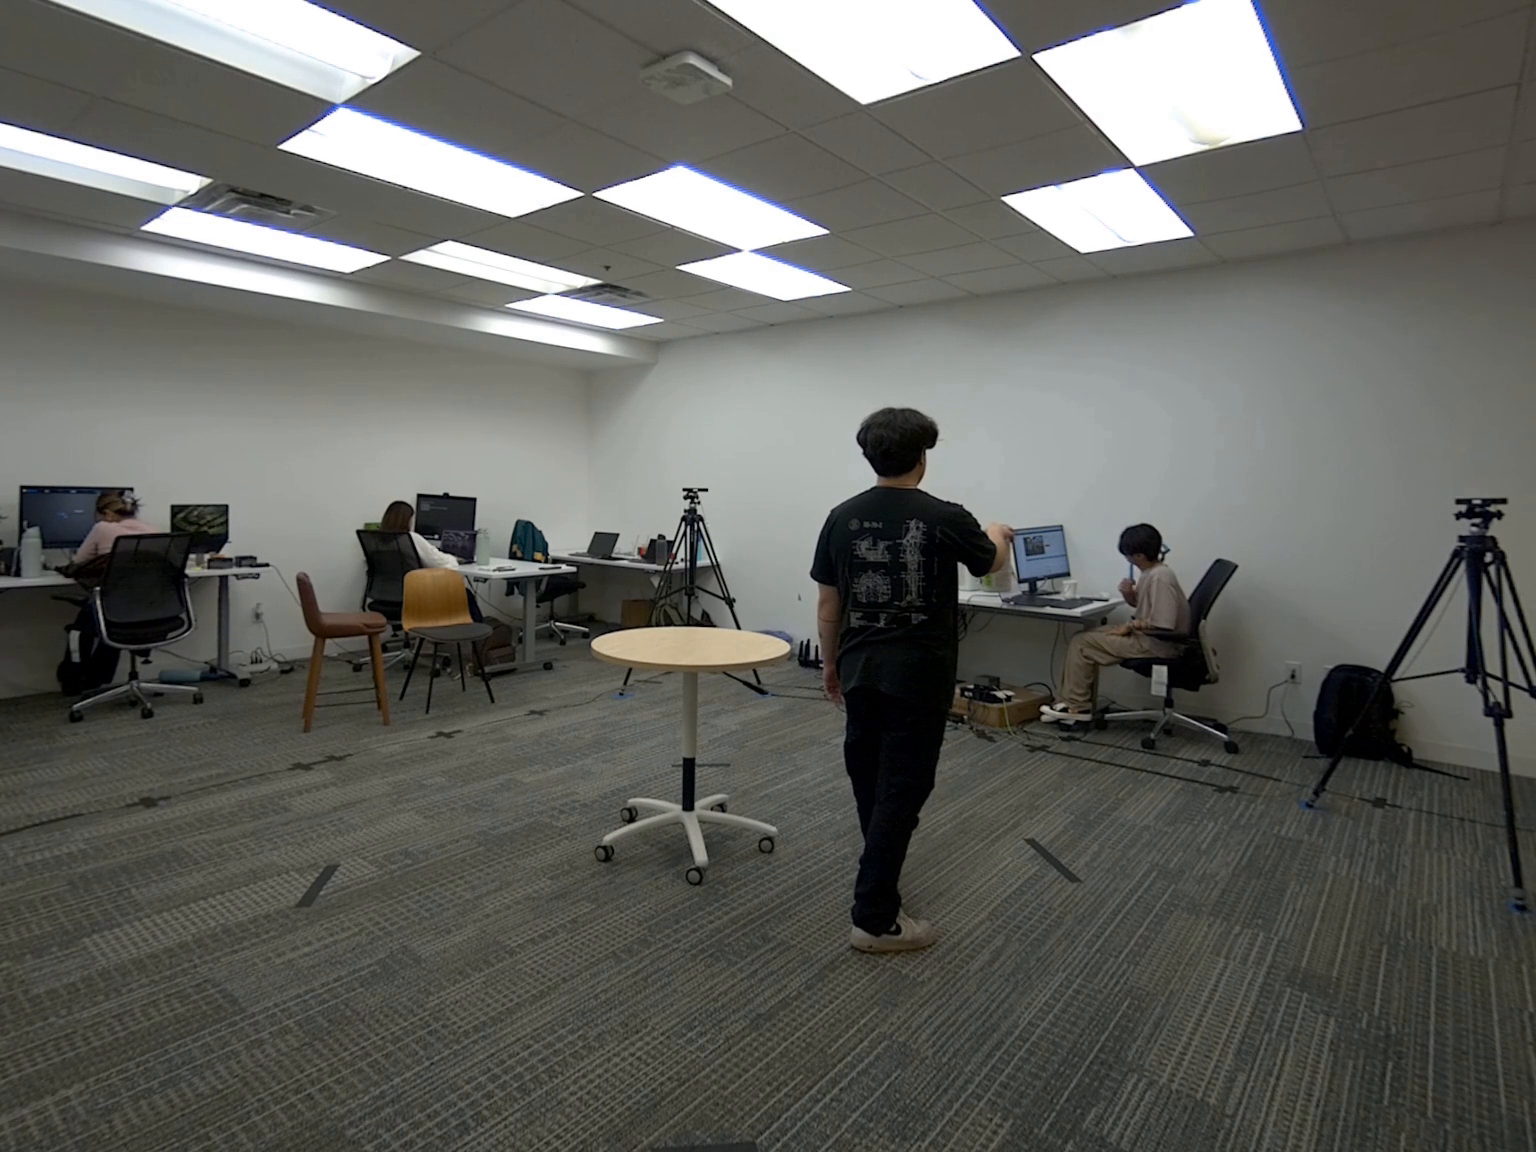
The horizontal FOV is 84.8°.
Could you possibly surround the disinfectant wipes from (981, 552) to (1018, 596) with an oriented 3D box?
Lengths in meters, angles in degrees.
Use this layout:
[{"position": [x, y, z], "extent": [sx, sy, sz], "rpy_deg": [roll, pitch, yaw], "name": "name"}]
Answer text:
[{"position": [0.817, -0.056, 3.098], "extent": [0.118, 0.216, 0.118], "rpy_deg": [-2, 6, -2], "name": "disinfectant wipes"}]
